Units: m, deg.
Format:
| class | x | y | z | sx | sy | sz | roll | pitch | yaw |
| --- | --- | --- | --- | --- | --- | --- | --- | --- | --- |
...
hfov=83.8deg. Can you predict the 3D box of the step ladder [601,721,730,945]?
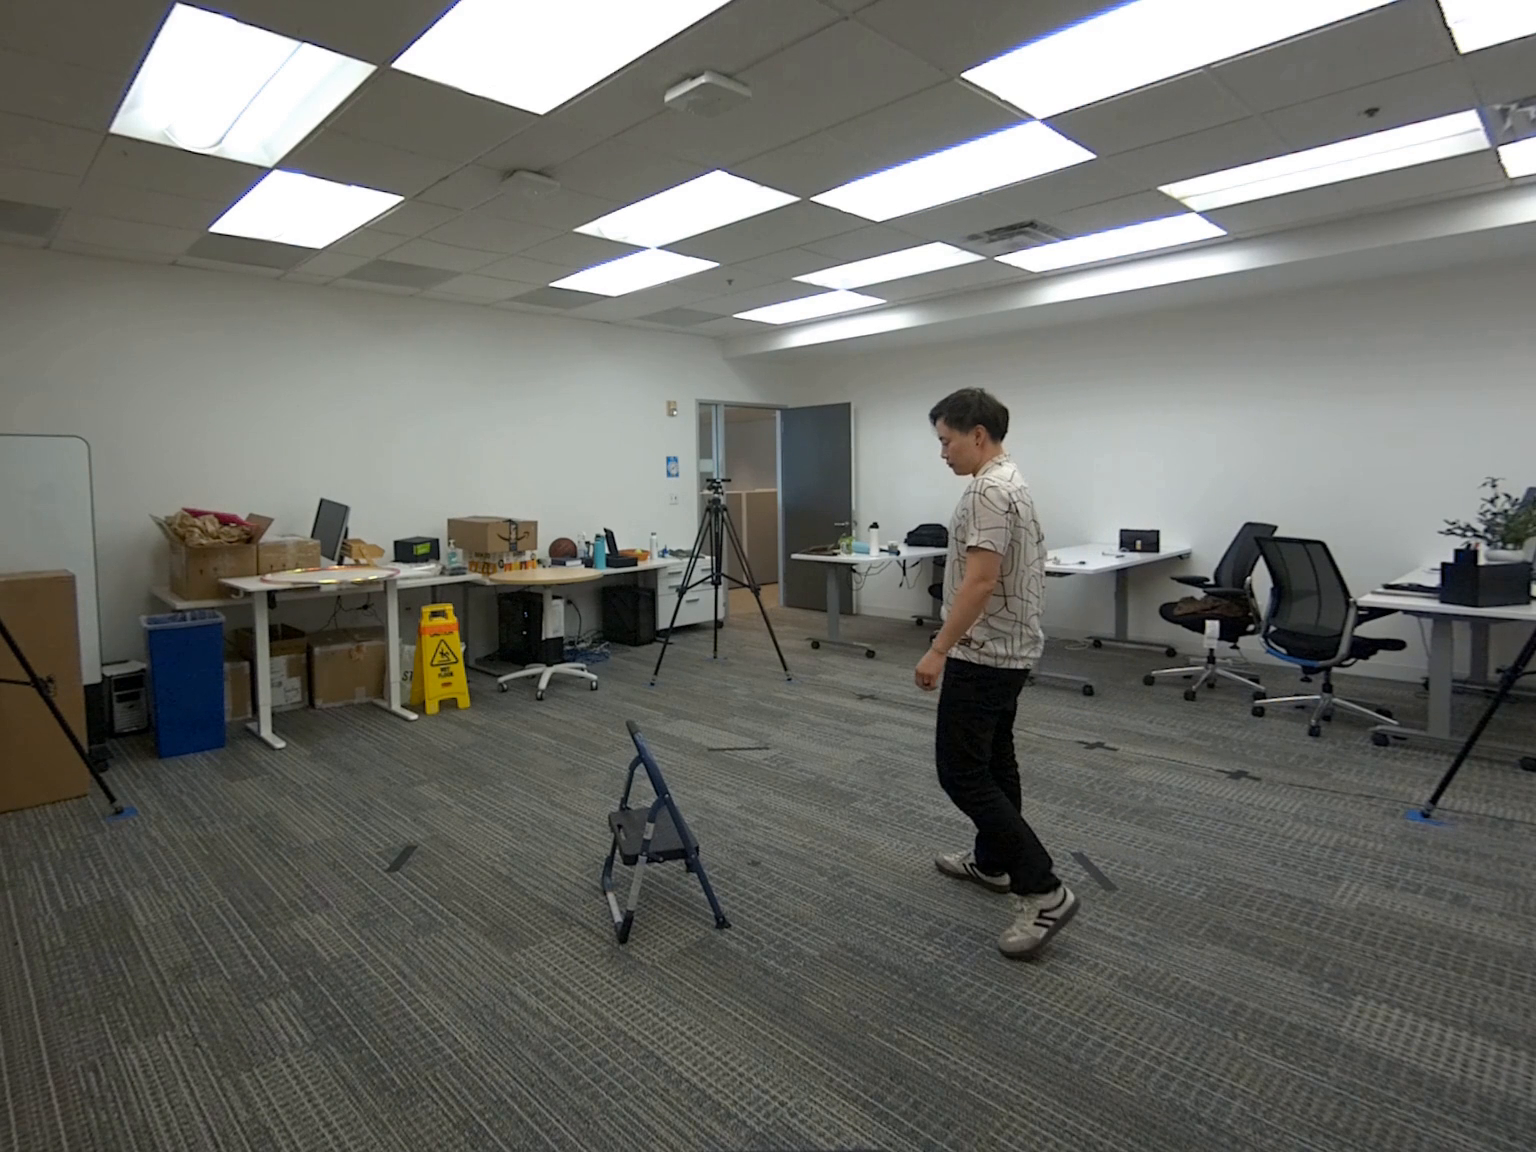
| class | x | y | z | sx | sy | sz | roll | pitch | yaw |
| --- | --- | --- | --- | --- | --- | --- | --- | --- | --- |
| step ladder | -0.352 | 0.781 | 2.799 | 0.344 | 0.604 | 0.439 | -2 | 4 | -19 |
